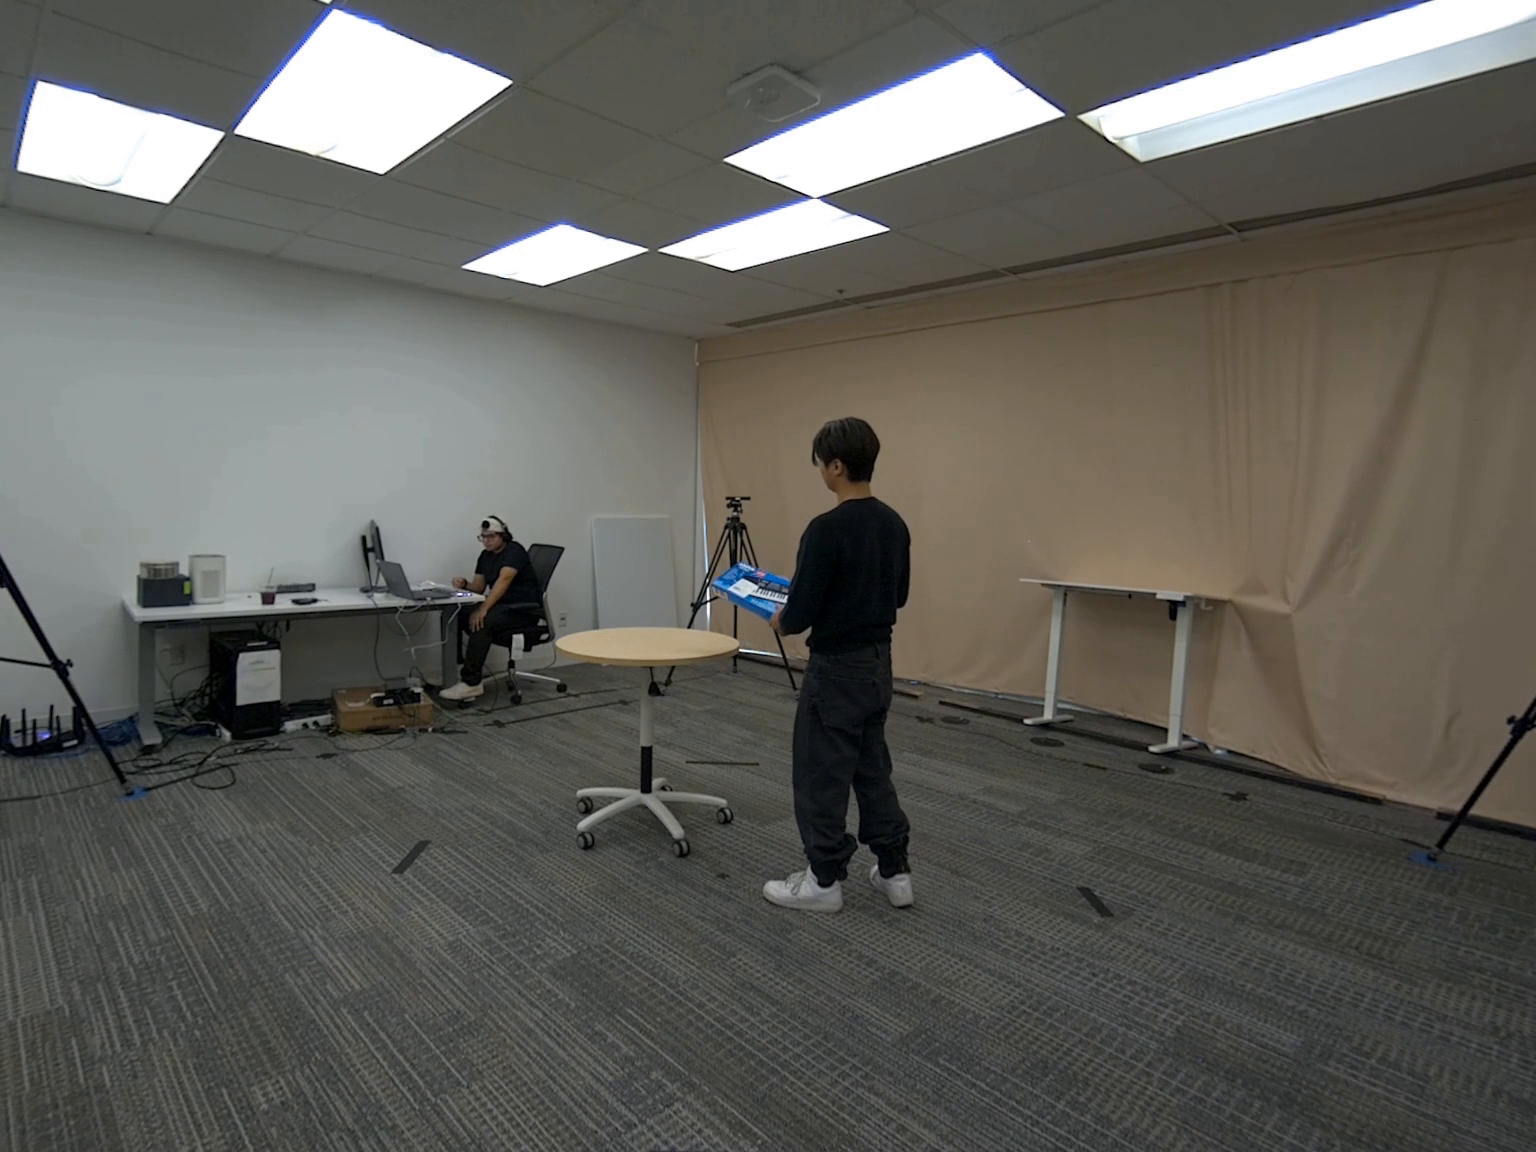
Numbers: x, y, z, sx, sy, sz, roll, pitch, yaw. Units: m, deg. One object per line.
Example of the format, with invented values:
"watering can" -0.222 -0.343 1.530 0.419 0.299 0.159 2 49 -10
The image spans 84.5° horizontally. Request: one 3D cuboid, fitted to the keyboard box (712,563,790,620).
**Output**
"keyboard box" -0.025 0.074 3.228 0.175 0.057 0.450 -36 38 -28
